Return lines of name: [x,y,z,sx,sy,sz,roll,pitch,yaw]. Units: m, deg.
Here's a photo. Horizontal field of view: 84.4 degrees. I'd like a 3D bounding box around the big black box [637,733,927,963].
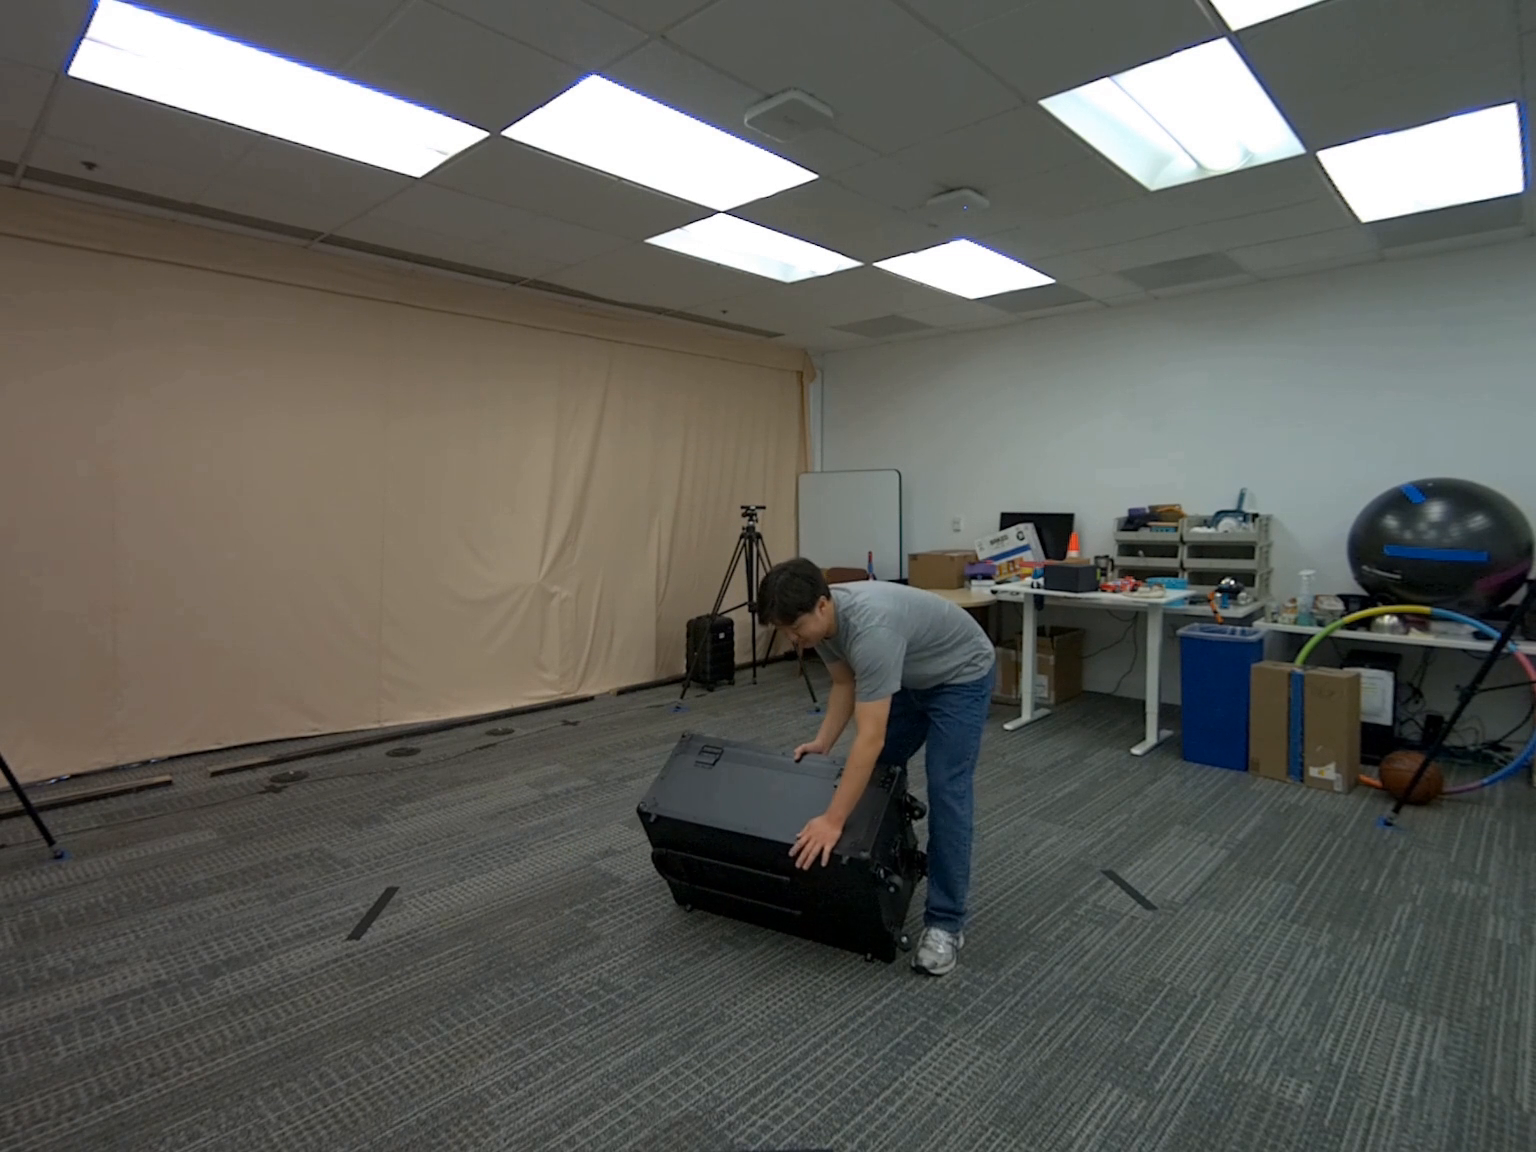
big black box: [0.071,0.872,2.739,0.885,0.509,0.394,3,35,28]
